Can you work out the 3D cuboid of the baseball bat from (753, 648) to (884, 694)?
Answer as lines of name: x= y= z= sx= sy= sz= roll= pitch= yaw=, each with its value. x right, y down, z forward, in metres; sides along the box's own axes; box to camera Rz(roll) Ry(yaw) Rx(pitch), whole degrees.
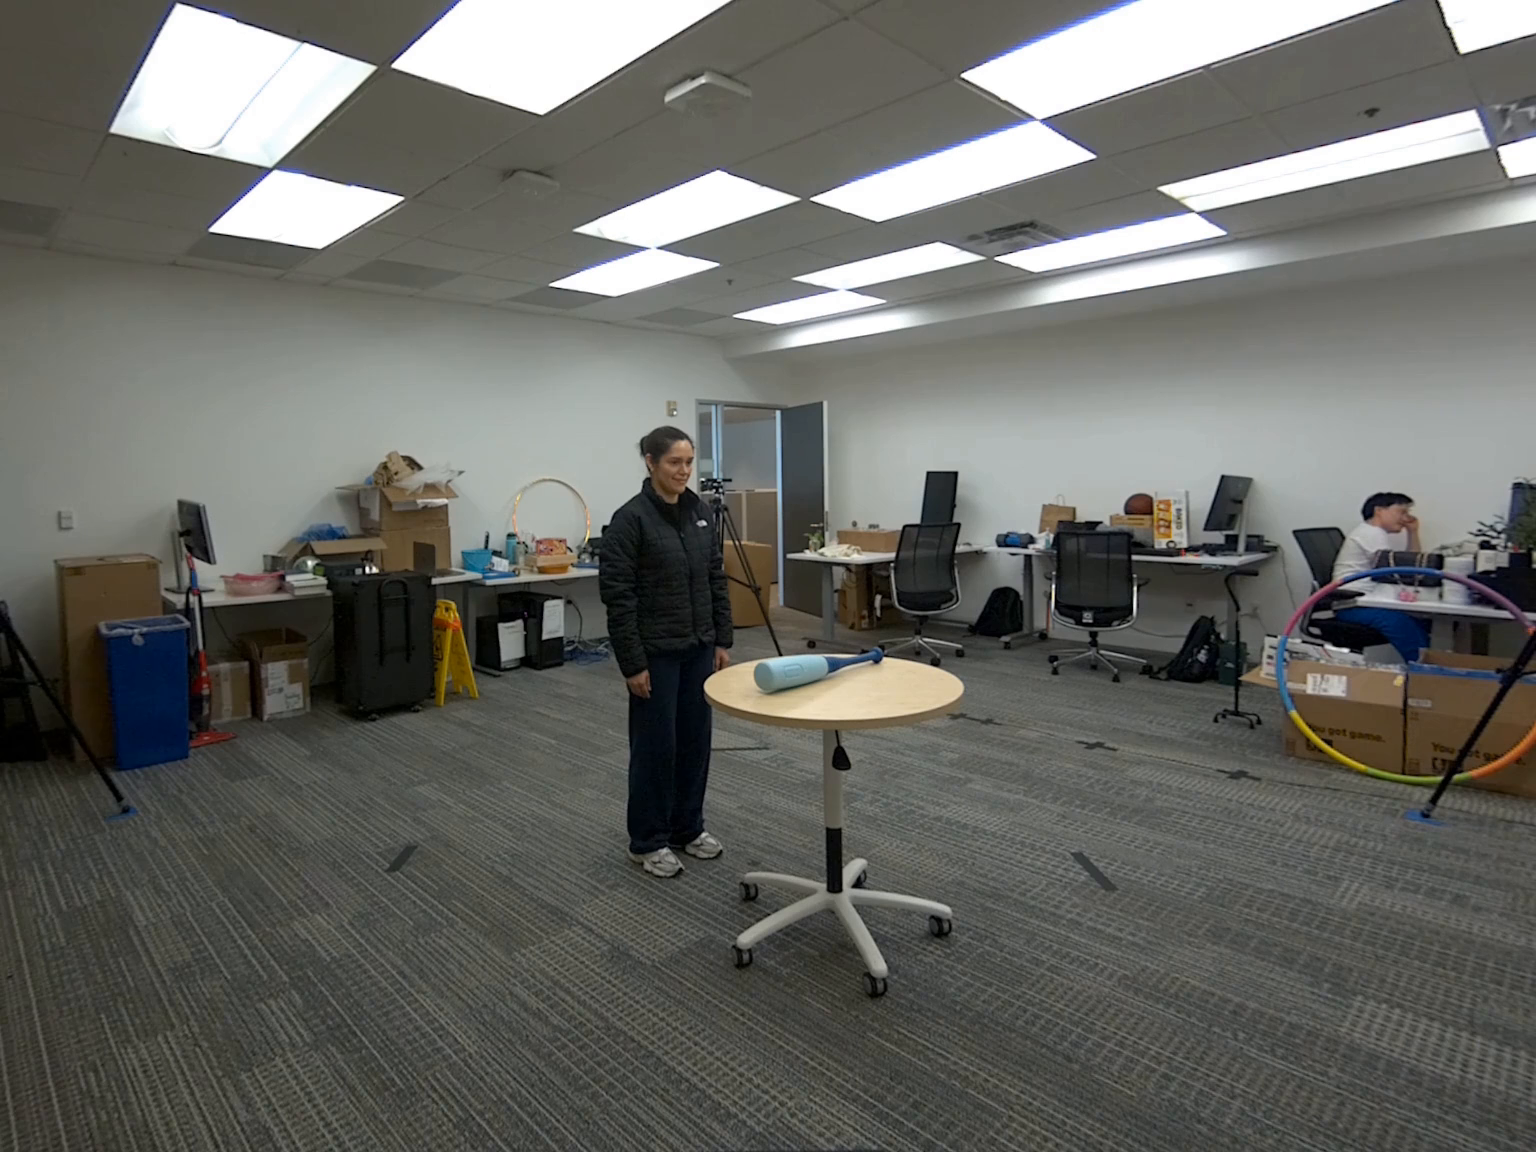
baseball bat: x=0.173 y=0.276 z=2.637 sx=0.528 sy=0.089 sz=0.092 roll=-4 pitch=5 yaw=-44
